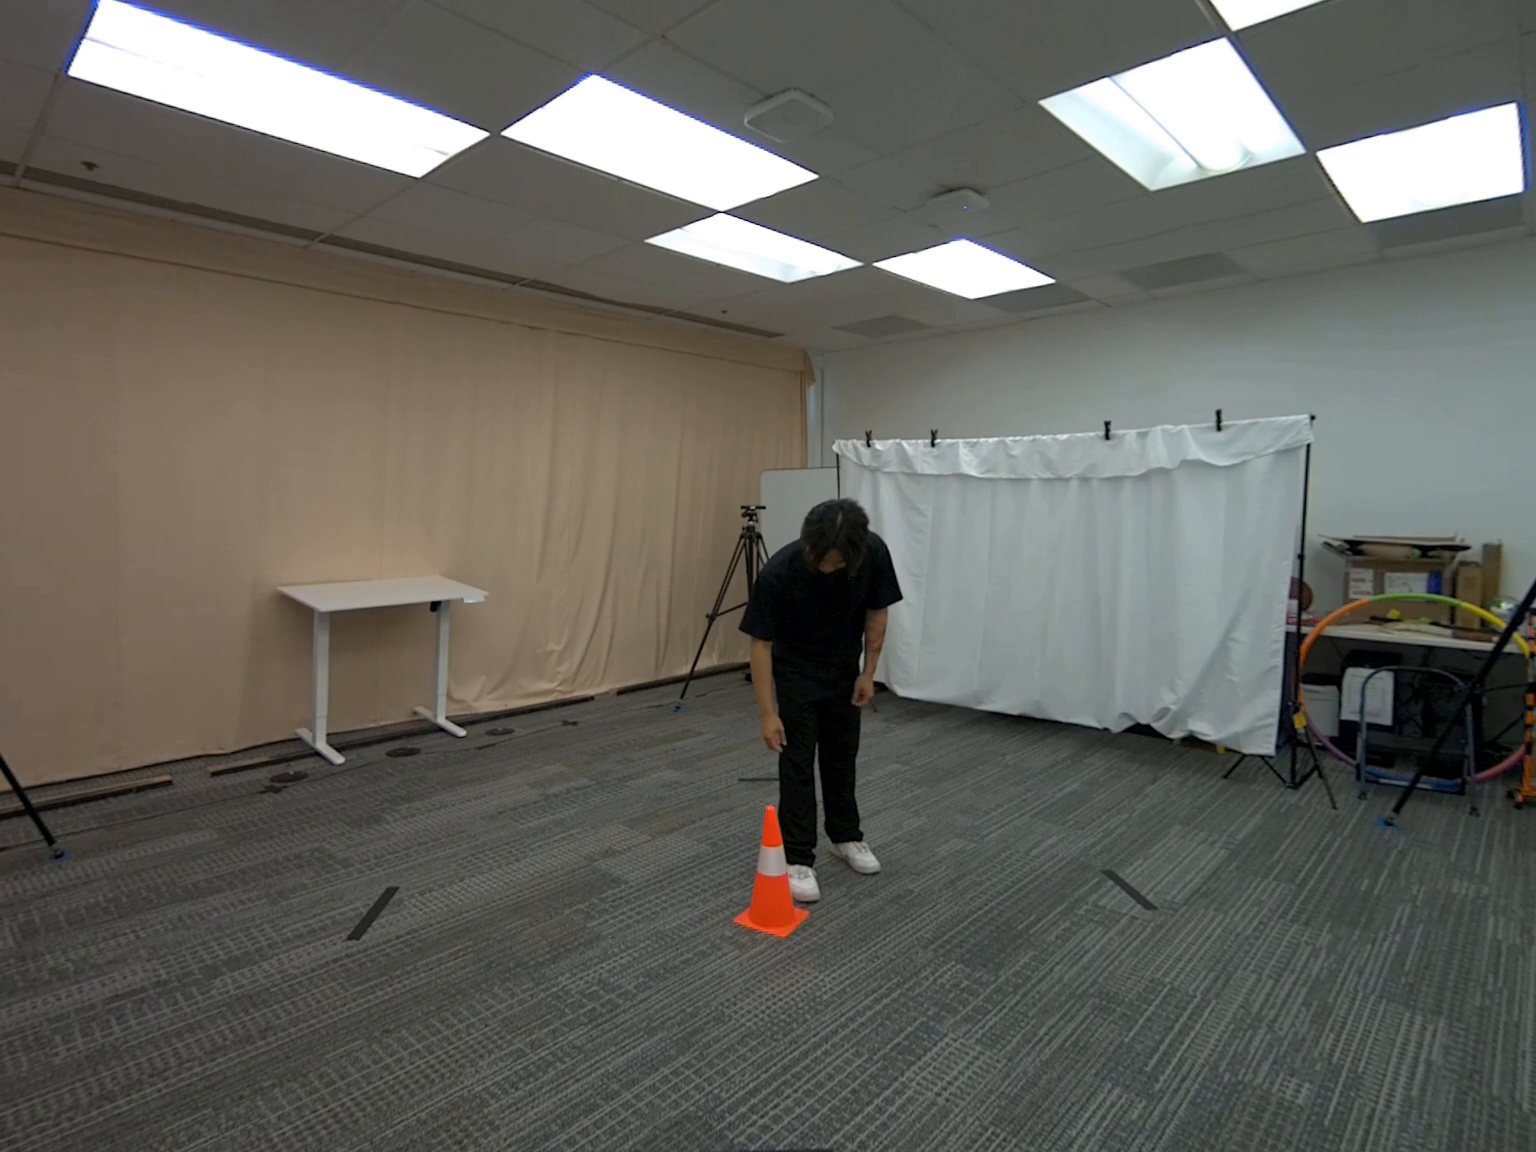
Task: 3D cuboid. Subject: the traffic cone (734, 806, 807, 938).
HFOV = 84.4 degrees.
[{"bbox_3d":[0.017,0.975,2.840,0.211,0.383,0.197,0,1,42],"label":"traffic cone"}]
